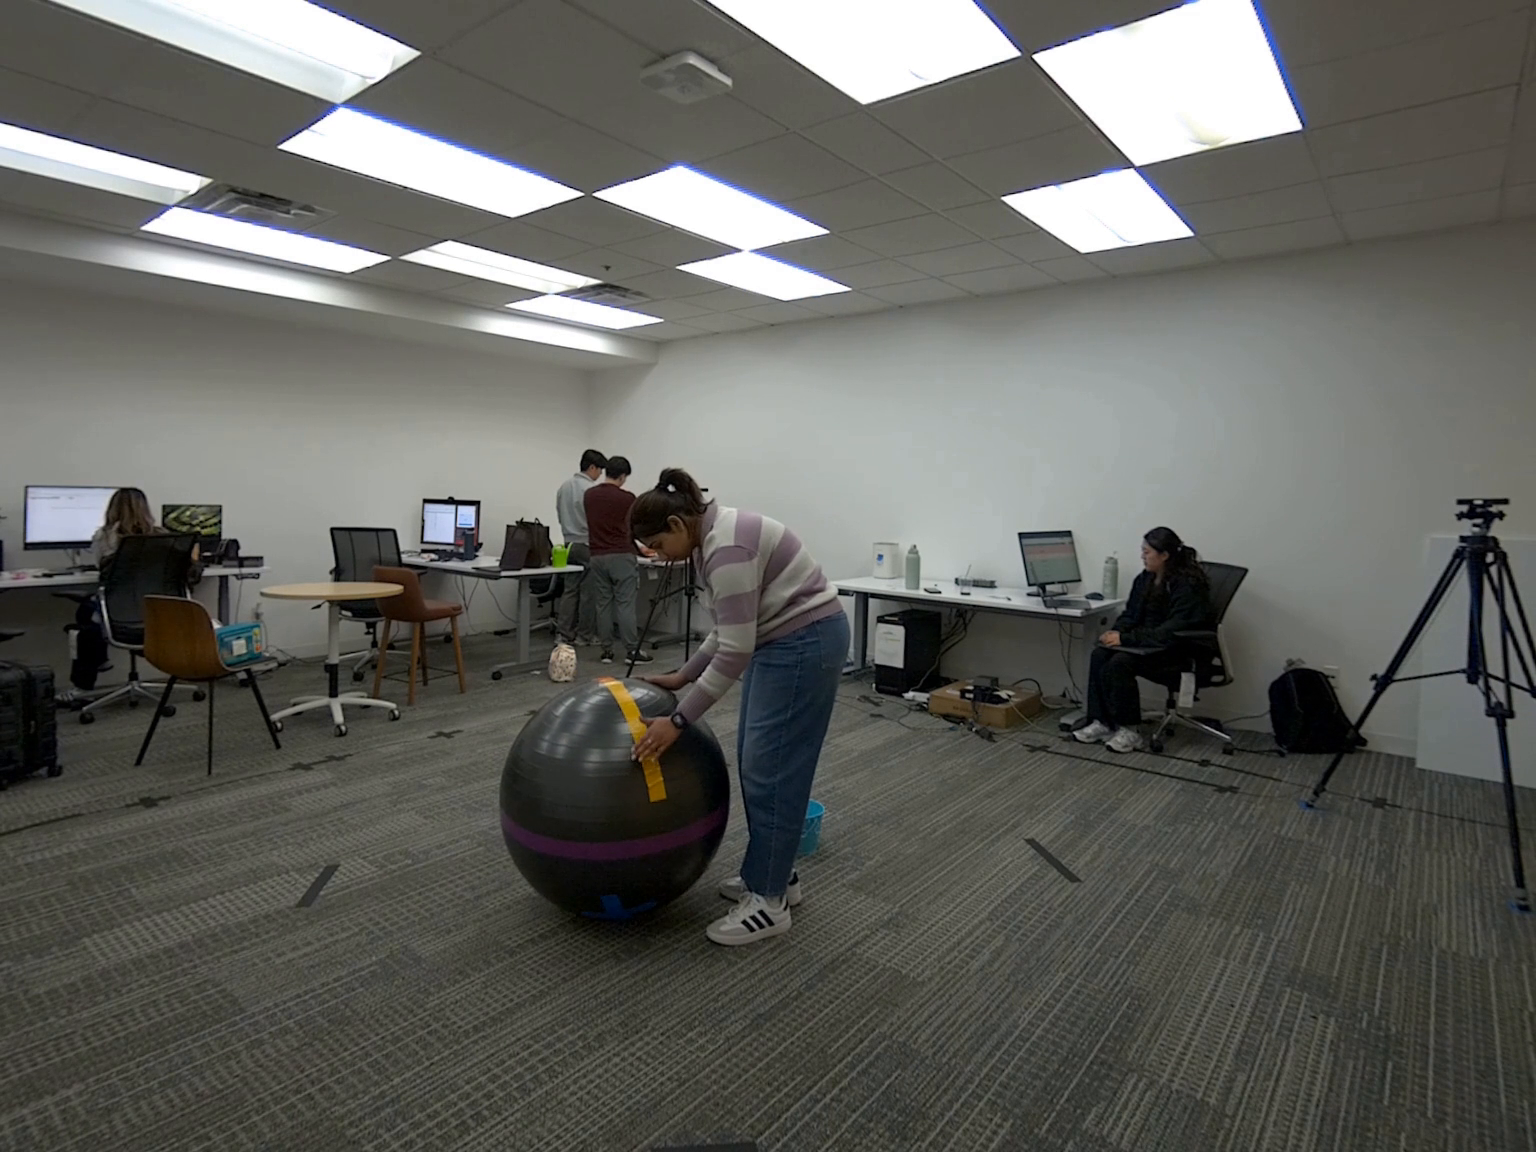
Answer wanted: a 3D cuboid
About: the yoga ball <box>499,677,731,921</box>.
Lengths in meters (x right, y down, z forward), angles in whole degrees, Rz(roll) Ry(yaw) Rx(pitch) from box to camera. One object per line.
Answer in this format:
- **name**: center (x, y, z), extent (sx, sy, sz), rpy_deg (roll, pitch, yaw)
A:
- **yoga ball**: center (-0.518, 0.725, 2.807), extent (0.757, 0.756, 0.762), rpy_deg (1, 4, -2)
